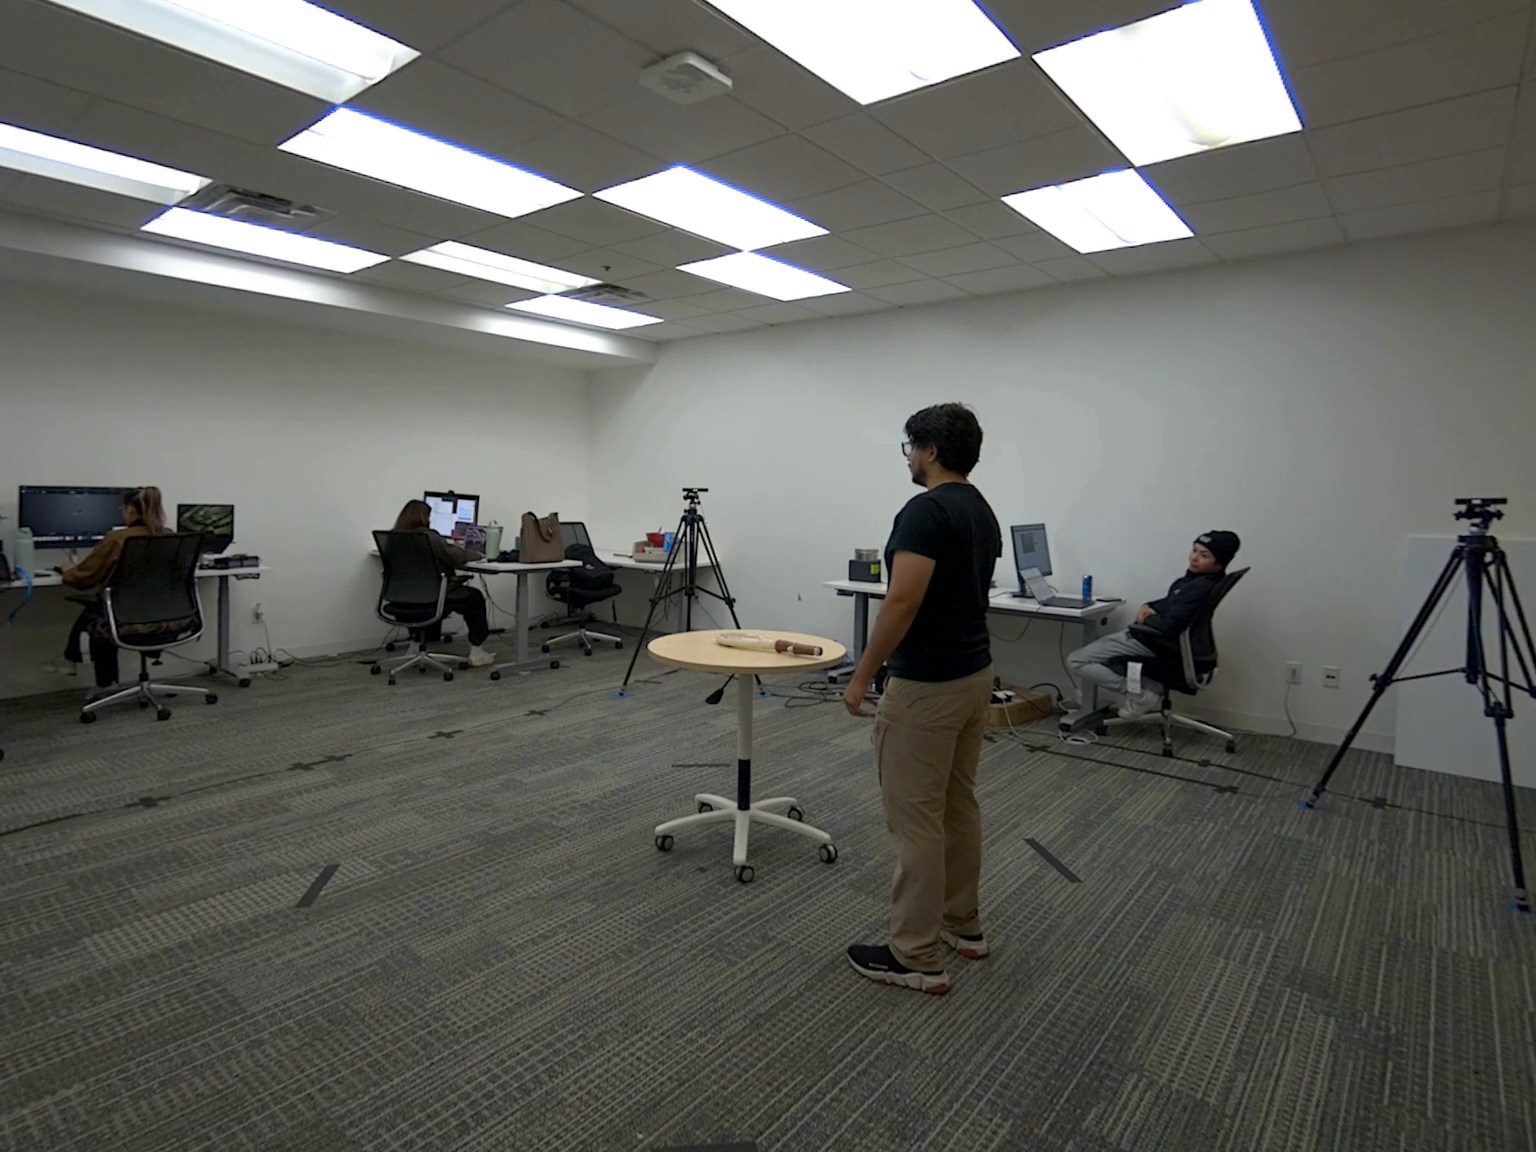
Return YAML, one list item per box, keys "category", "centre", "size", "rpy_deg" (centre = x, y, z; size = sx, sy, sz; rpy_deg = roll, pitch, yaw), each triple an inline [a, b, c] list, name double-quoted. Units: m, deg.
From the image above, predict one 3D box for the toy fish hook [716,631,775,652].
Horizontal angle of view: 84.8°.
- category: "toy fish hook"
  centre: [0.014, 0.254, 3.263]
  size: [0.523, 0.048, 0.218]
  rpy_deg: [5, 8, 39]
